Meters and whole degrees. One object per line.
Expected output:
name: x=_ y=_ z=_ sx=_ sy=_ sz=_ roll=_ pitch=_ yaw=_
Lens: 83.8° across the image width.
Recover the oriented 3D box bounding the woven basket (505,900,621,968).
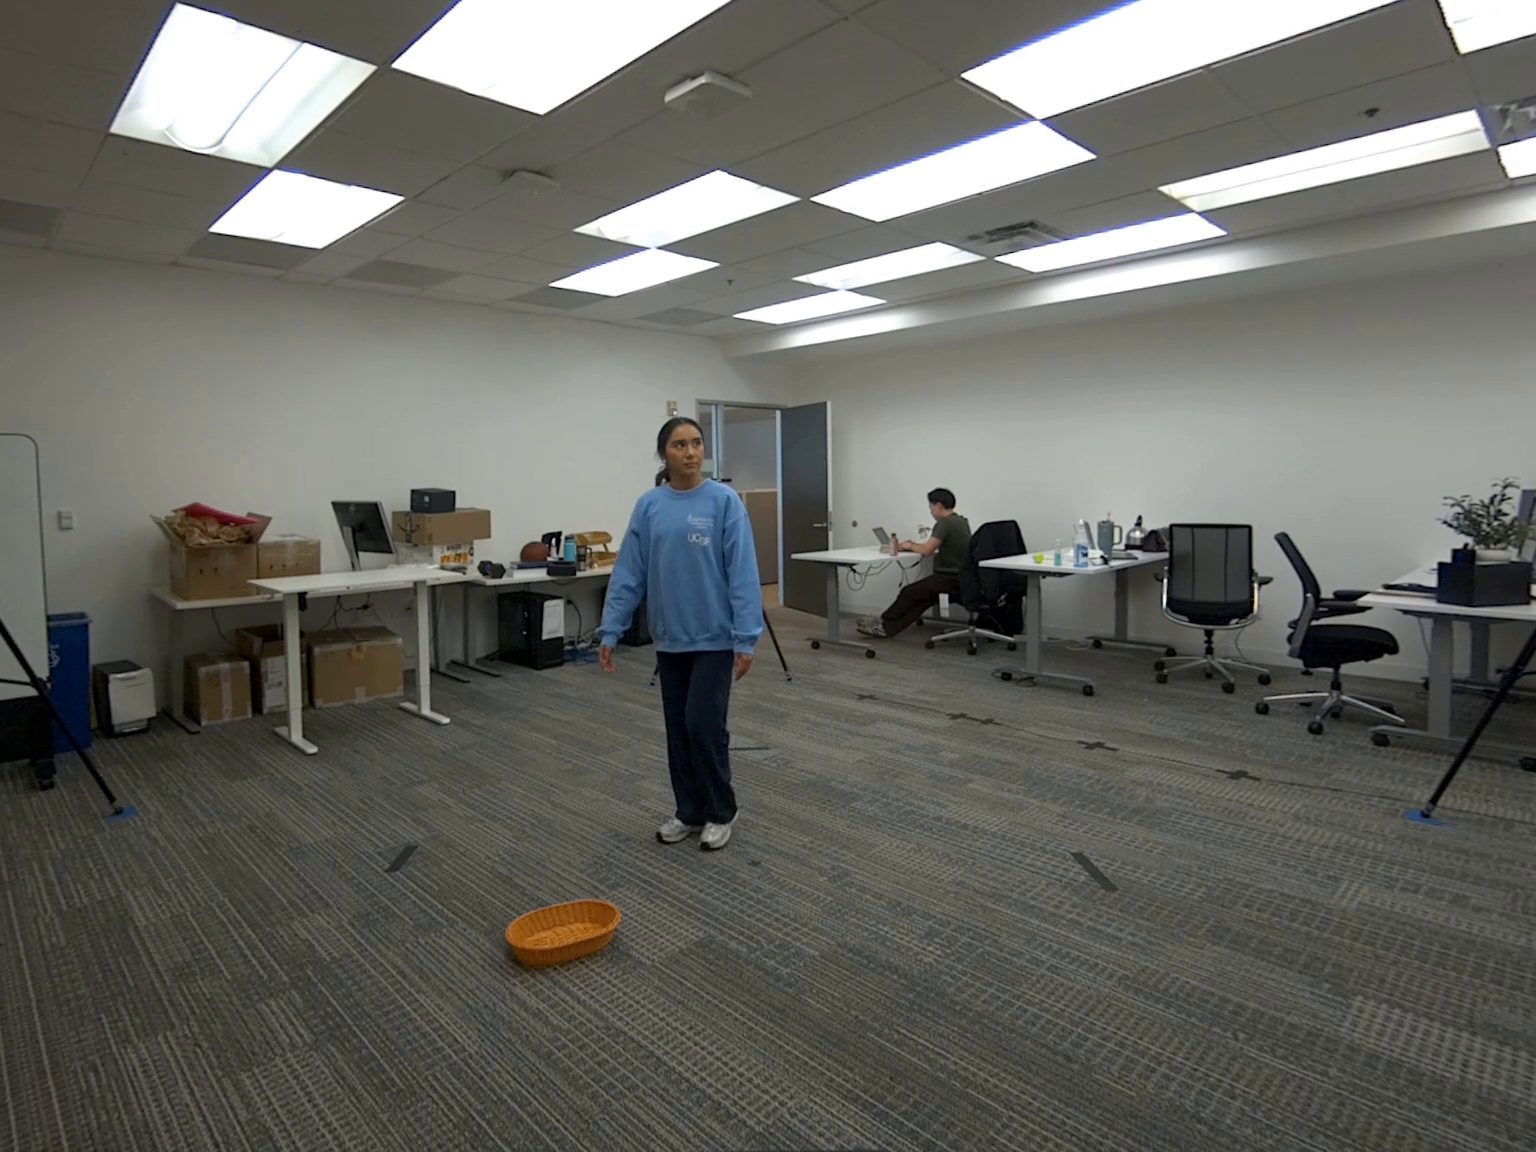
woven basket: x=-0.610 y=1.075 z=2.581 sx=0.343 sy=0.073 sz=0.258 roll=-4 pitch=6 yaw=-24
